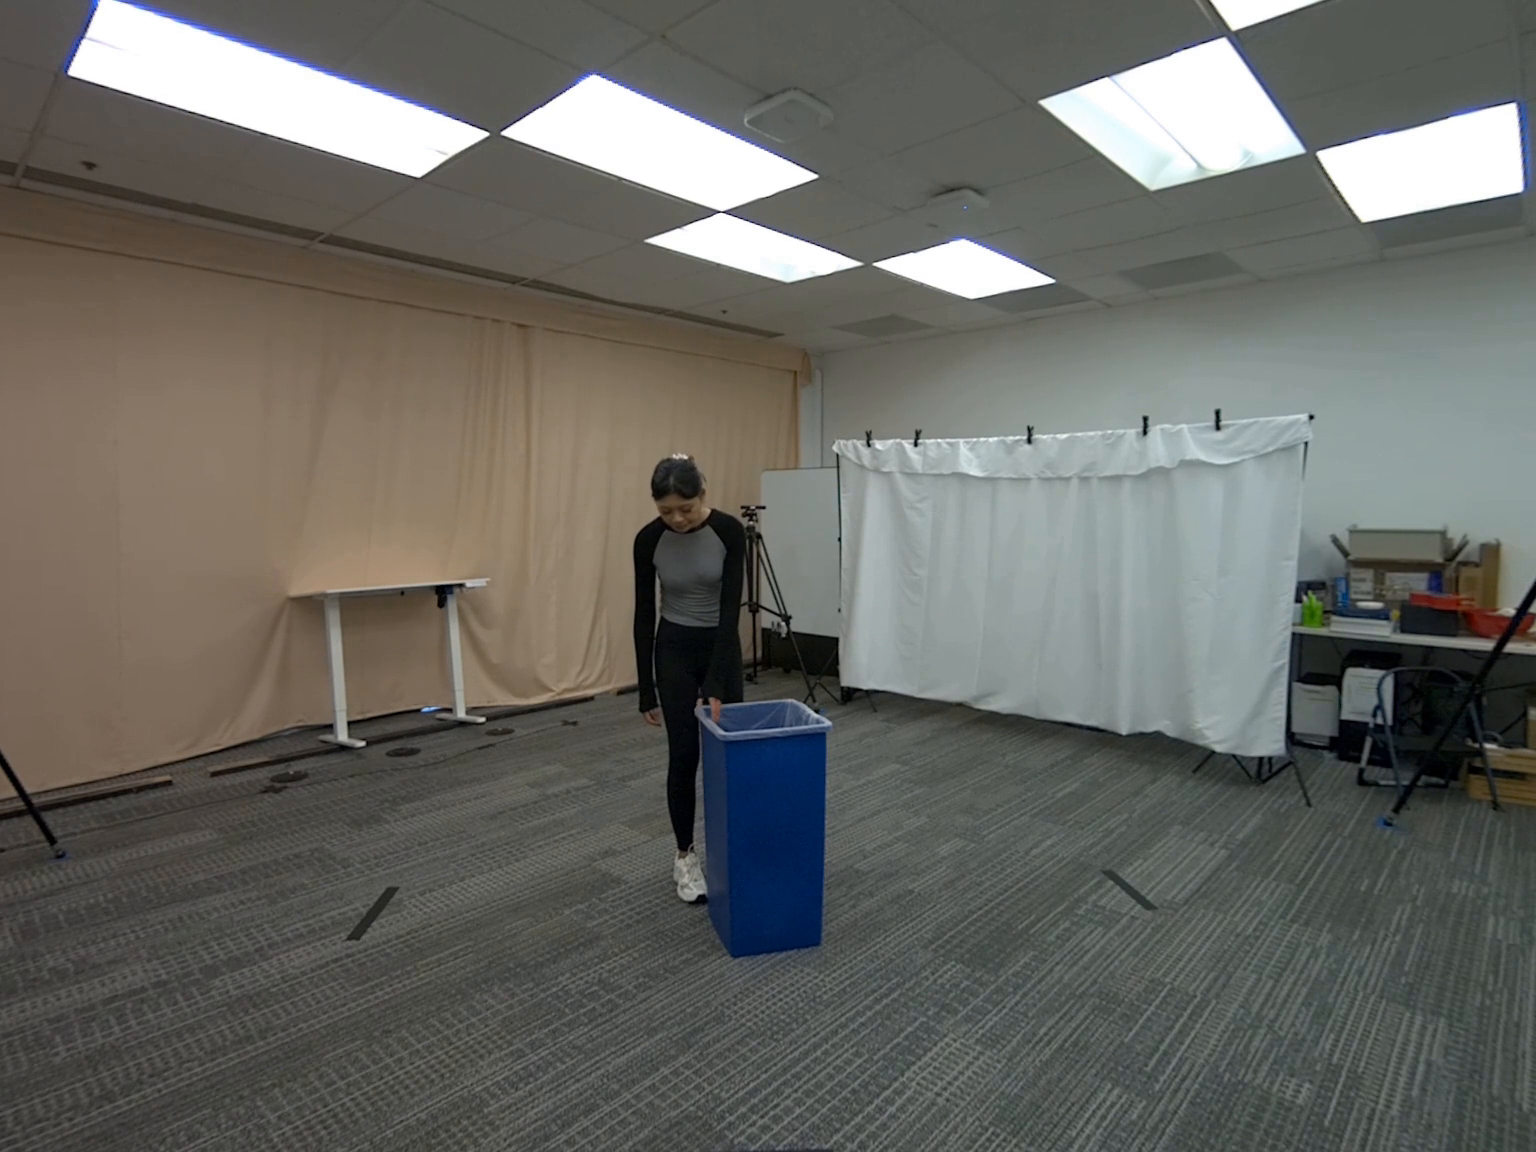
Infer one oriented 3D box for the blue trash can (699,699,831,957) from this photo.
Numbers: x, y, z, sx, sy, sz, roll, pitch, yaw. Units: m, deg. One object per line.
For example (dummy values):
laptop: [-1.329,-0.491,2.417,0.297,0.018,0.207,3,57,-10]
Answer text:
blue trash can: [-0.017,0.805,2.747,0.368,0.712,0.385,-1,3,-17]
